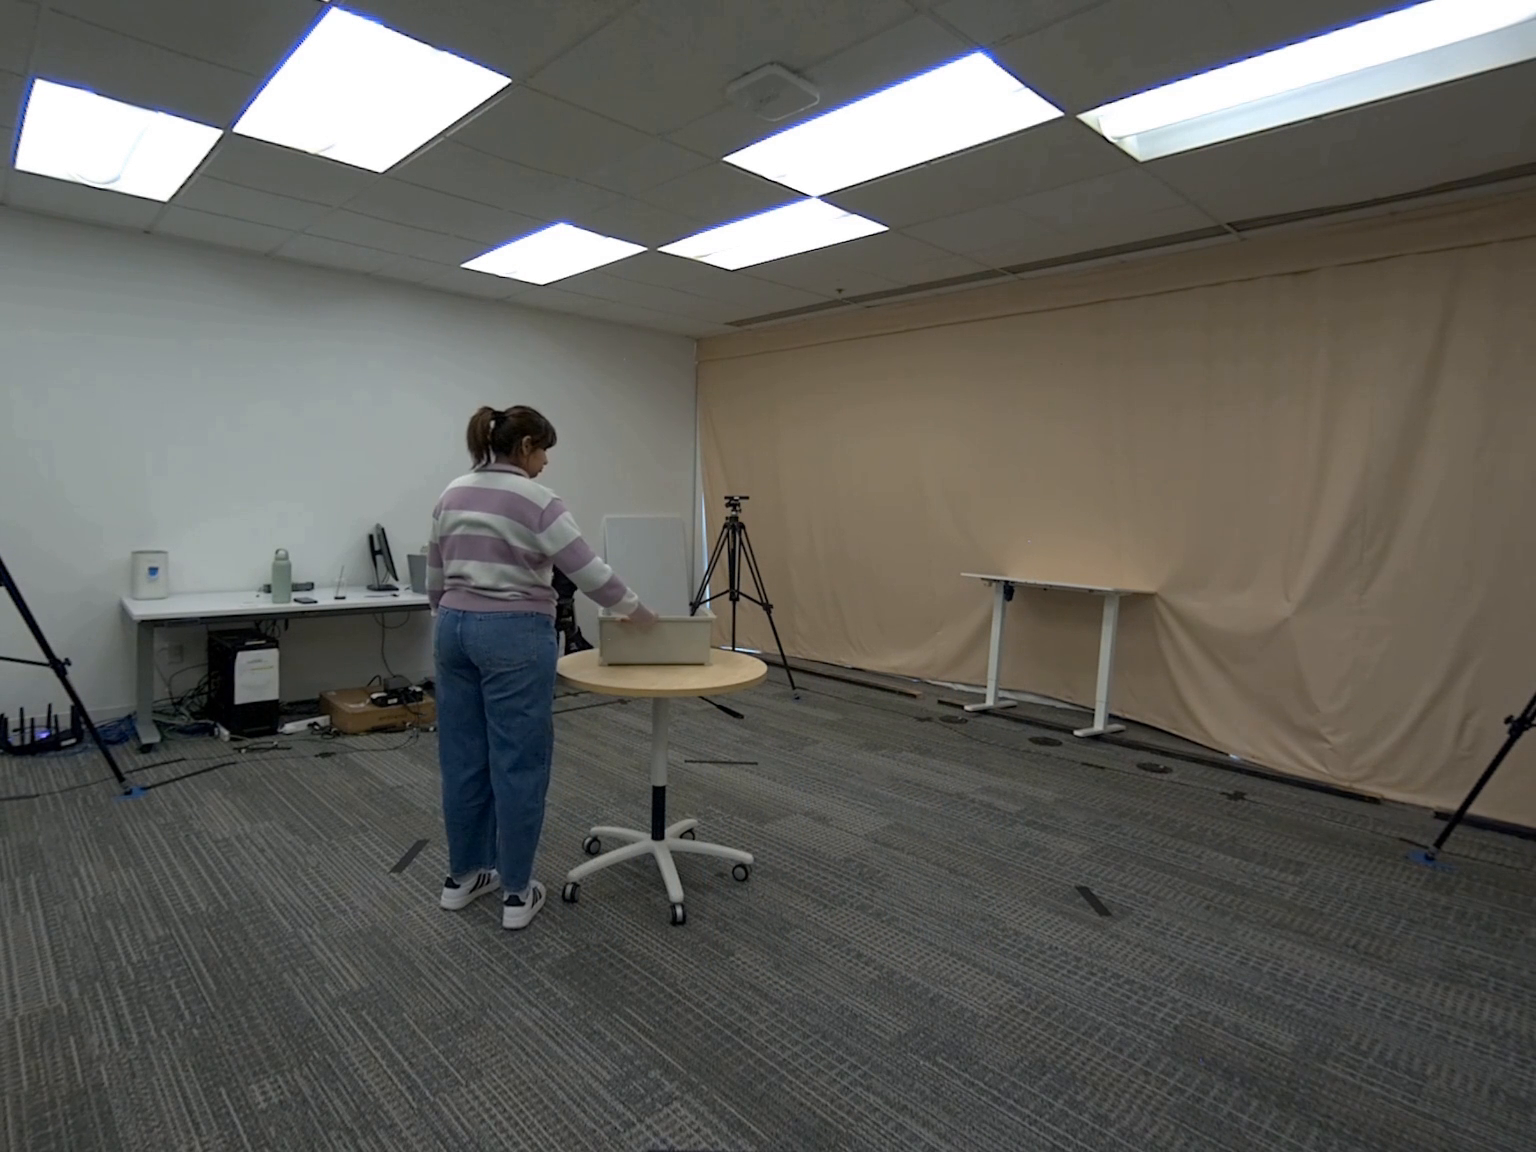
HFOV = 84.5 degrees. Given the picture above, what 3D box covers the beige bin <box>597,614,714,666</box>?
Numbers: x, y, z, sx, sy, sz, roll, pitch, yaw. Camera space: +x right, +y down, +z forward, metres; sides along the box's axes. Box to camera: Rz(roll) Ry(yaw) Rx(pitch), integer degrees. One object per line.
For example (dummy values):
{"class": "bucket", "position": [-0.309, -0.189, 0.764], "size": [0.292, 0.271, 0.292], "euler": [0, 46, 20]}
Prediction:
{"class": "beige bin", "position": [-0.431, 0.213, 3.181], "size": [0.419, 0.188, 0.382], "euler": [1, 7, -9]}
